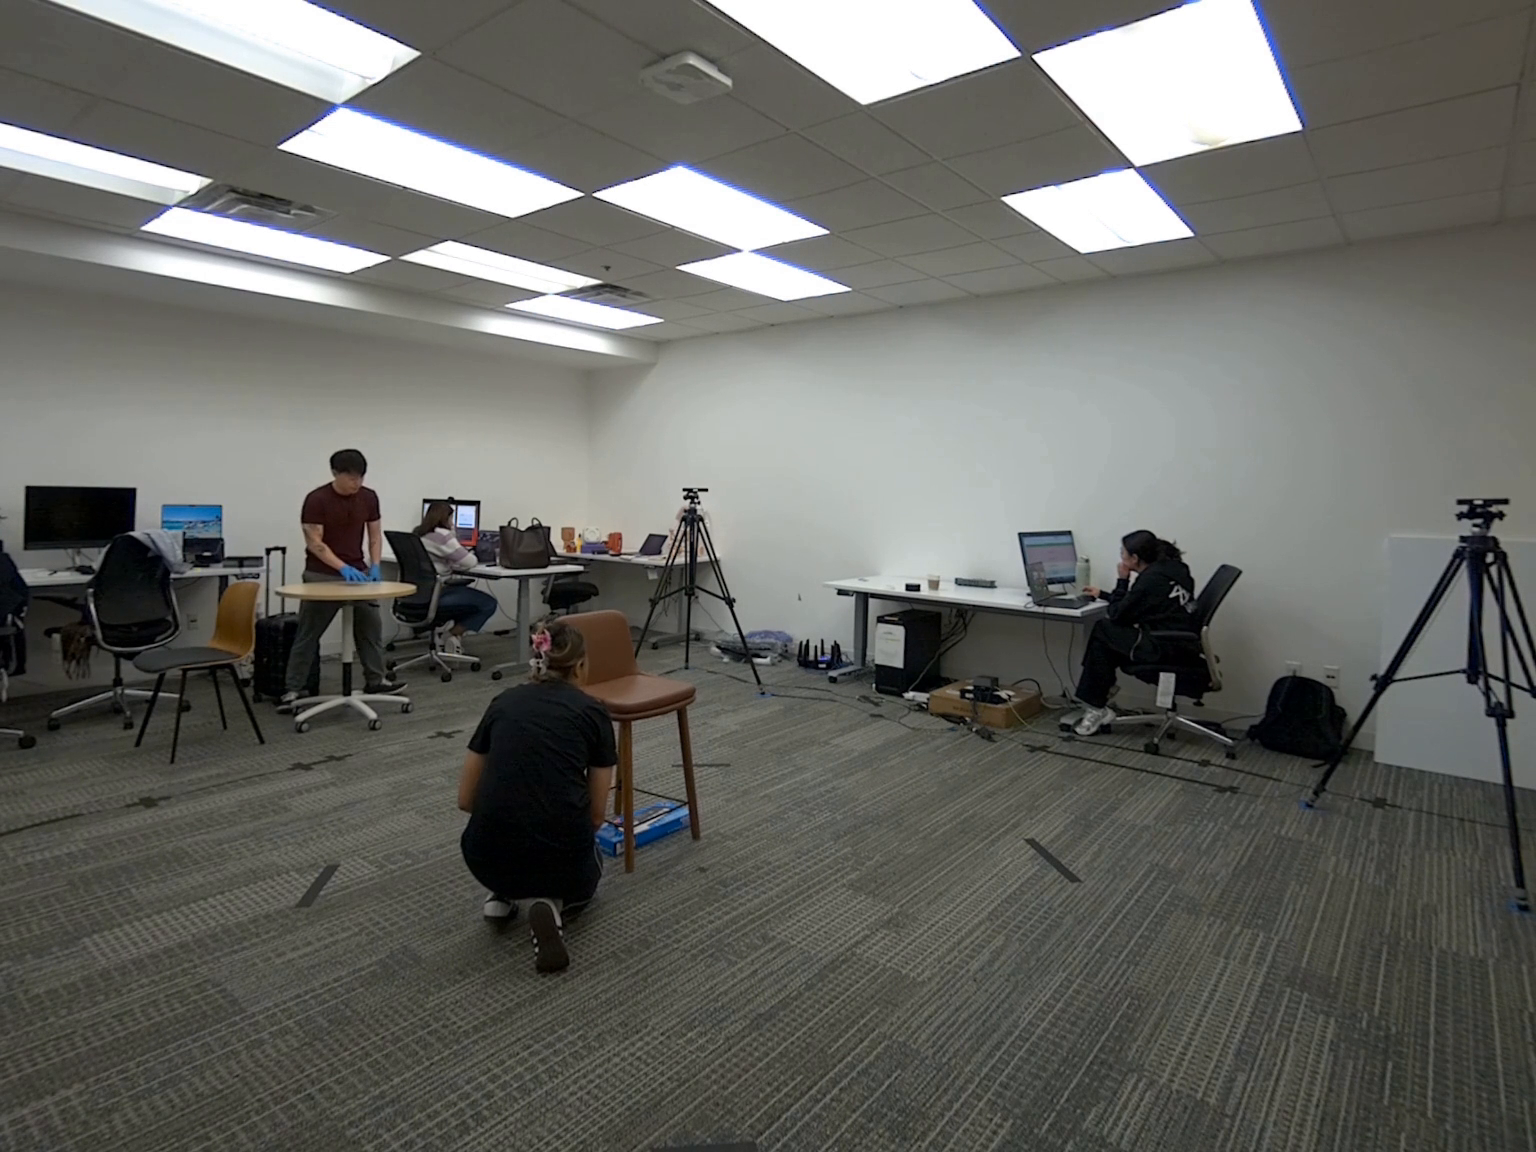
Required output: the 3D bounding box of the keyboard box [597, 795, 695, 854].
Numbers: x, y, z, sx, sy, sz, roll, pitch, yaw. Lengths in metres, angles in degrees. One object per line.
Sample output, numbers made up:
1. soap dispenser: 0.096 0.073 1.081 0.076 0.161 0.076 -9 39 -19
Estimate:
1. keyboard box: -0.513 0.998 3.407 0.182 0.059 0.424 5 7 39
